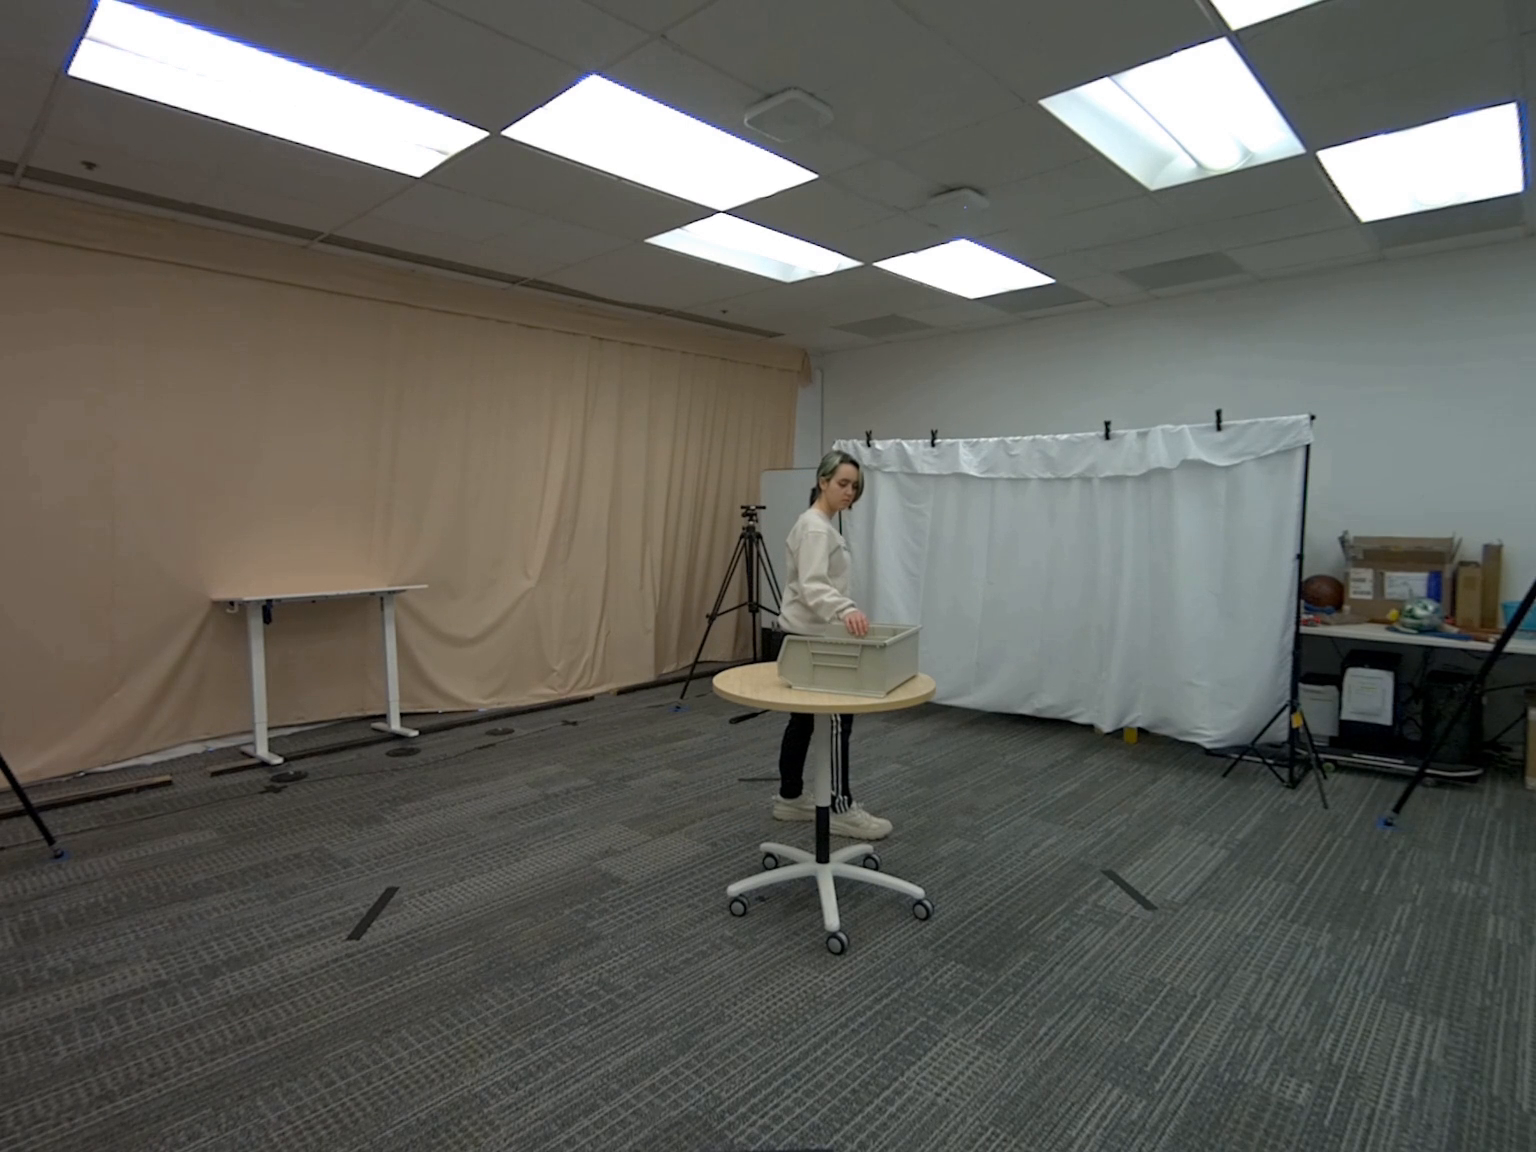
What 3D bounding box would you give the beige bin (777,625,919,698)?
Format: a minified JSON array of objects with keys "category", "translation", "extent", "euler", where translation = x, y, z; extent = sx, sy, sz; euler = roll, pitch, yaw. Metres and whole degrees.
[{"category":"beige bin","translation":[0.290,0.270,2.889],"extent":[0.388,0.188,0.412],"euler":[4,6,27]}]
